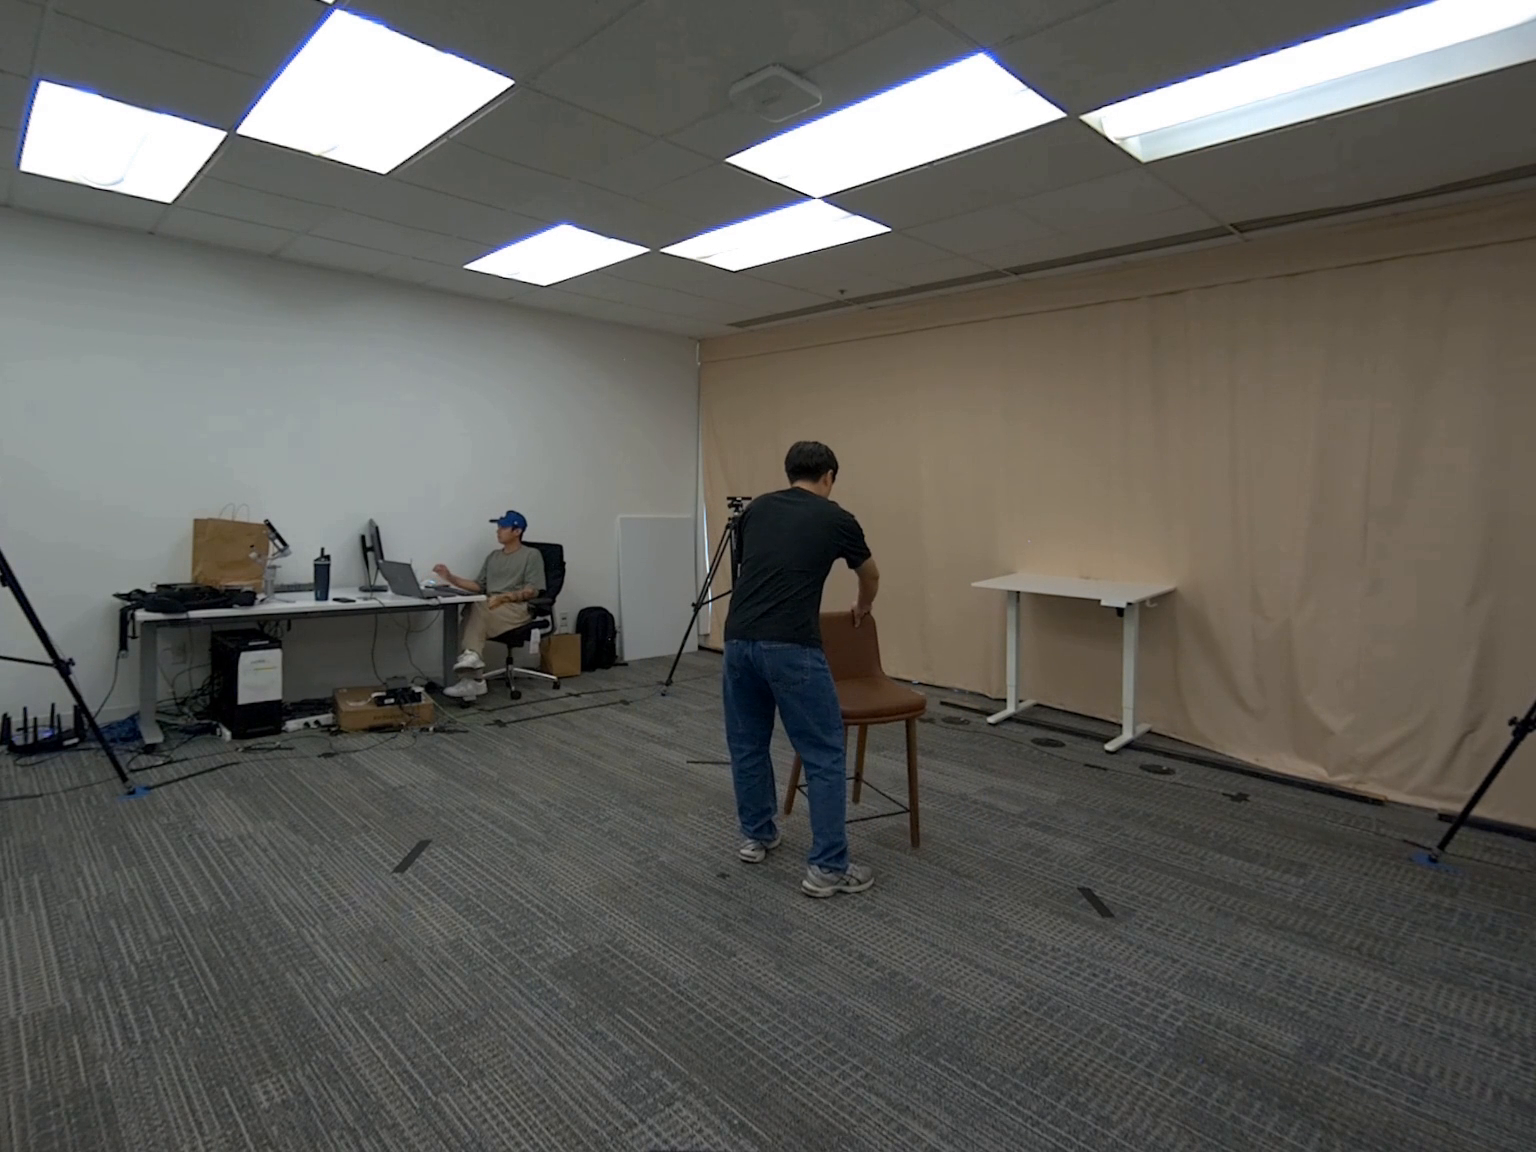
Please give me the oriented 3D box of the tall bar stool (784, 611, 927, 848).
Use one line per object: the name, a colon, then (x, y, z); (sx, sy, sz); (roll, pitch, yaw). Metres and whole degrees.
tall bar stool: (0.348, 0.633, 3.452); (0.448, 0.886, 0.478); (-1, 7, -25)
